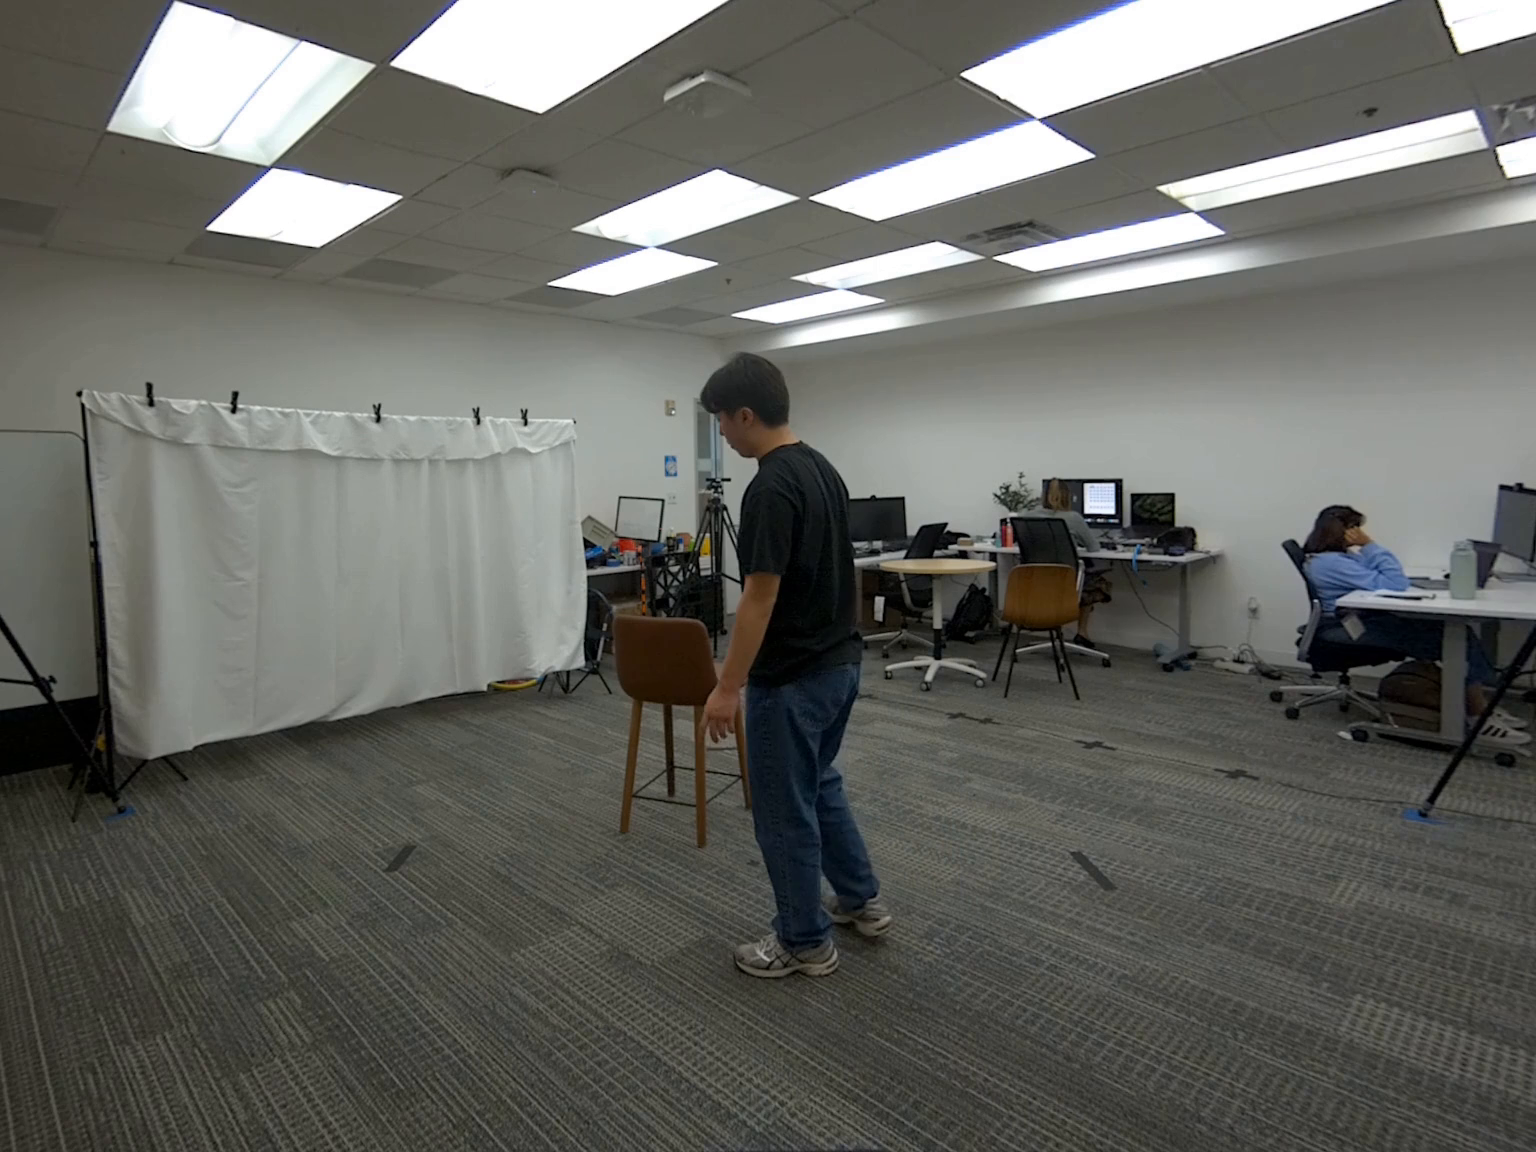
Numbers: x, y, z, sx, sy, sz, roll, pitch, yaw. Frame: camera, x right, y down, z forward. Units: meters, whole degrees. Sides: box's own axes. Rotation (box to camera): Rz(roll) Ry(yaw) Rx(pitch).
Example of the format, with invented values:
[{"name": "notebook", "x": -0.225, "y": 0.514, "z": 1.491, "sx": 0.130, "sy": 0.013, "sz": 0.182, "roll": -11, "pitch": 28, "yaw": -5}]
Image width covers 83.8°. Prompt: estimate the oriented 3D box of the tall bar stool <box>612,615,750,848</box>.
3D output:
[{"name": "tall bar stool", "x": -0.345, "y": 0.568, "z": 3.487, "sx": 0.467, "sy": 0.885, "sz": 0.459, "roll": 1, "pitch": 6, "yaw": 25}]
